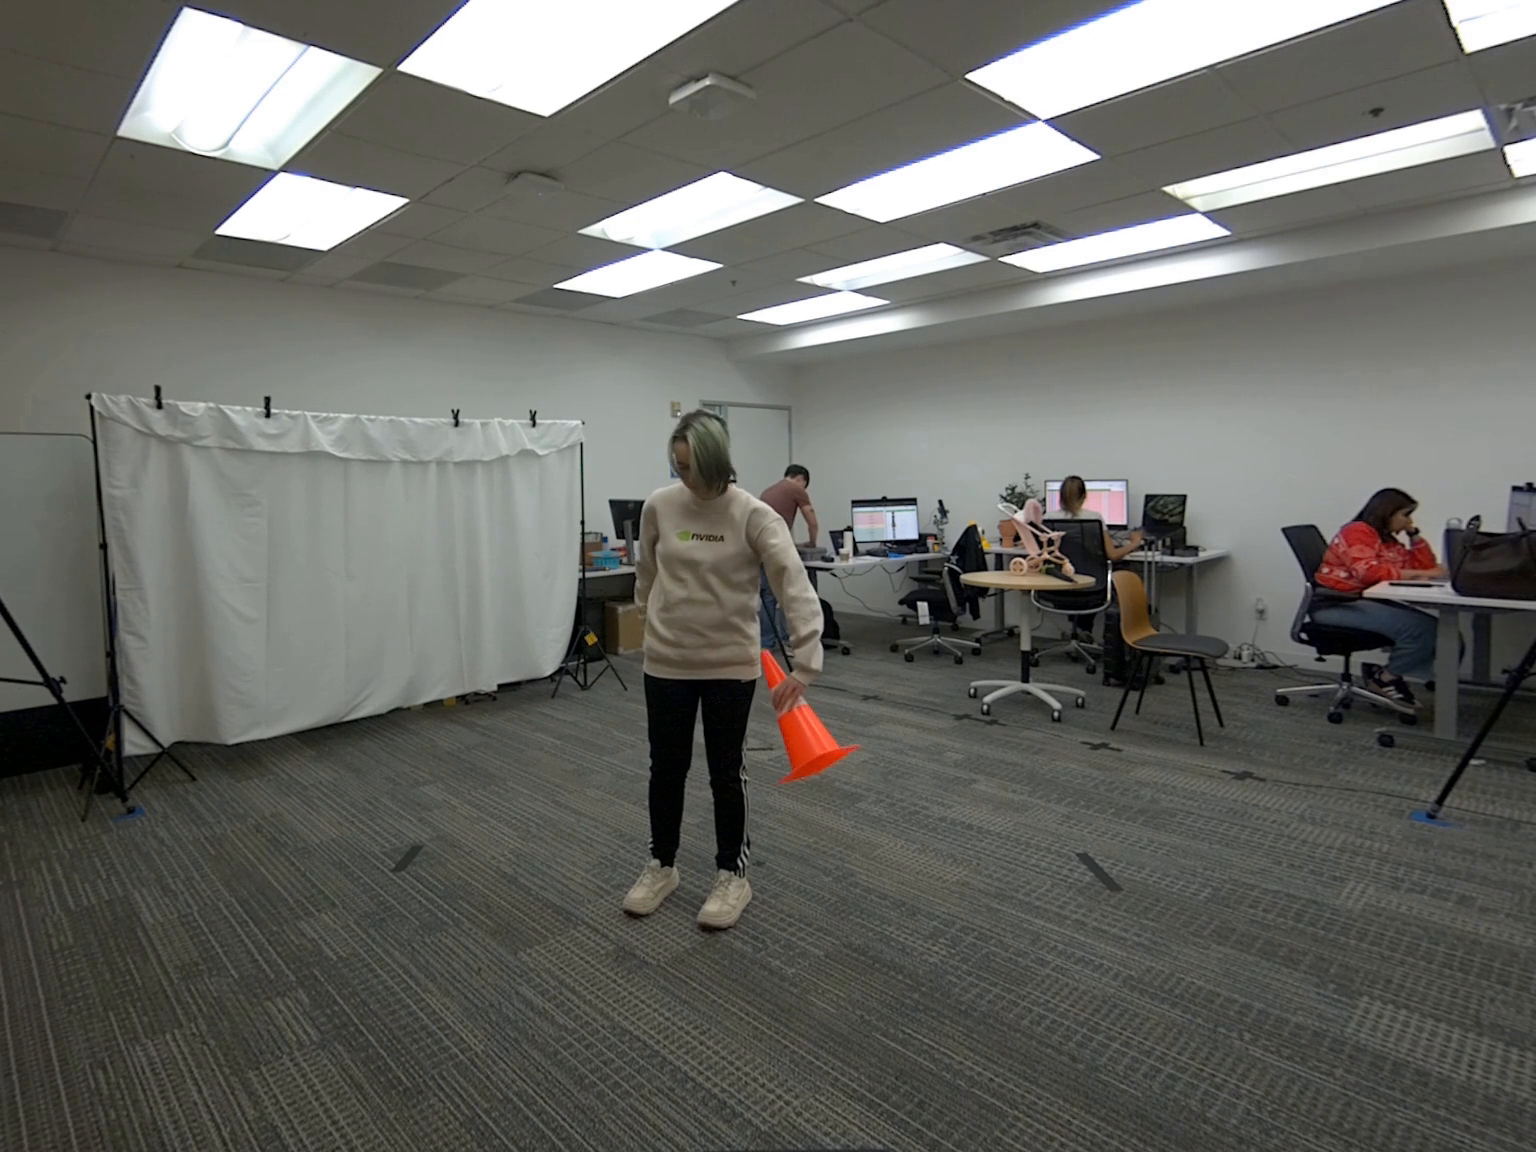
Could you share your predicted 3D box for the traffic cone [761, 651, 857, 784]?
[{"bbox_3d":[0.068,0.391,2.573,0.197,0.396,0.205,7,-42,-47],"label":"traffic cone"}]
